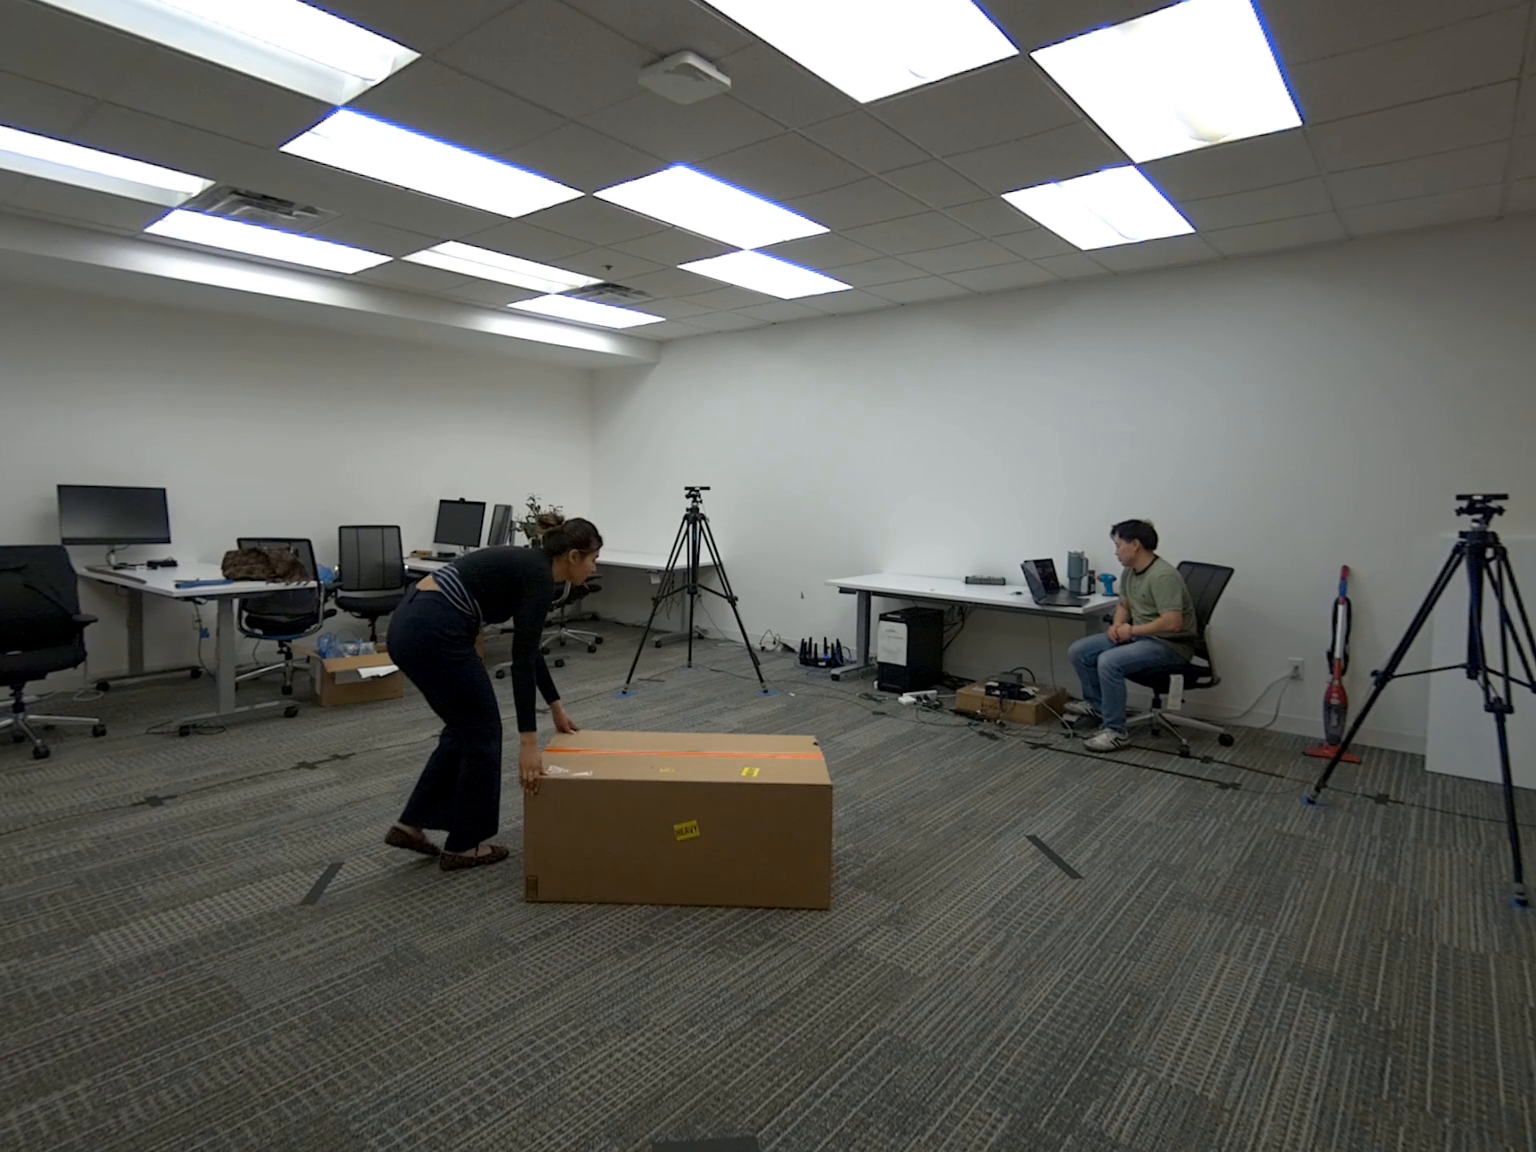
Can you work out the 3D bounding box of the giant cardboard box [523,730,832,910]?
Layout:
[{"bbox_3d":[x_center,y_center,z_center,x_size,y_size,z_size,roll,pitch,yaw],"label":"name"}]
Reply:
[{"bbox_3d":[-0.318,0.851,3.093,1.027,0.425,0.579,1,5,0],"label":"giant cardboard box"}]
